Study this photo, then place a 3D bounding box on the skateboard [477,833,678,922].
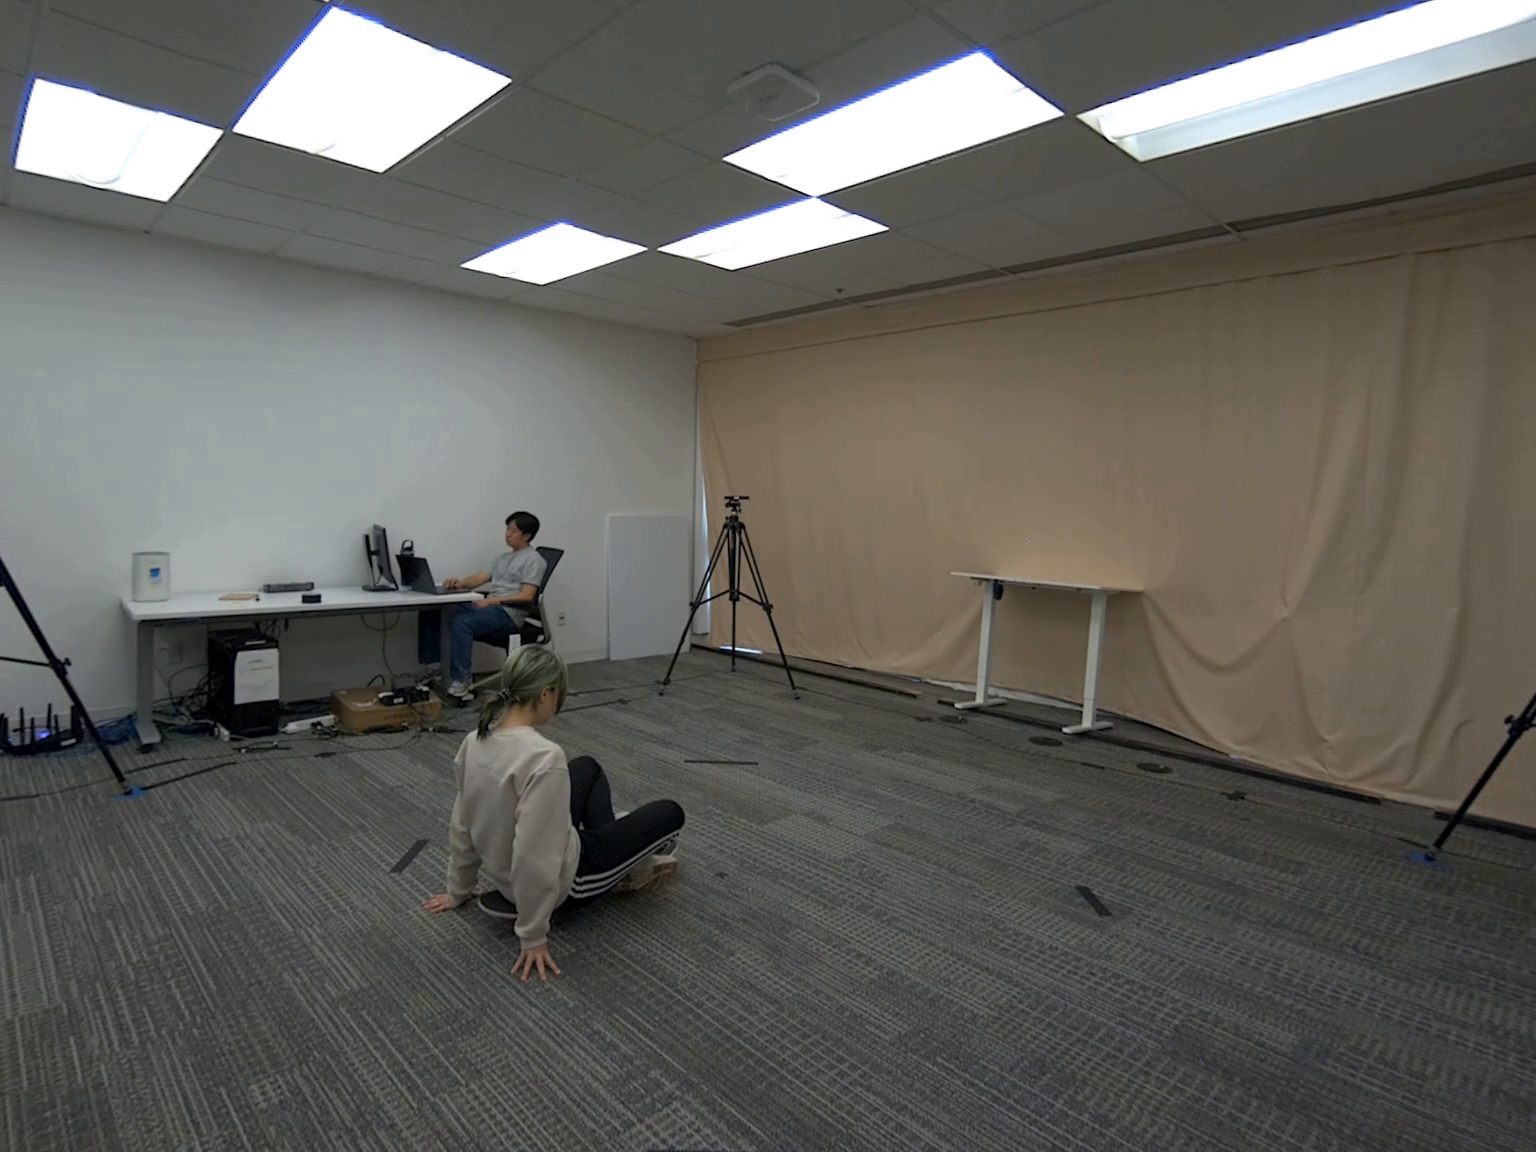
[{"bbox_3d":[-0.634,1.073,2.887,0.198,0.110,0.768,3,5,44],"label":"skateboard"}]
